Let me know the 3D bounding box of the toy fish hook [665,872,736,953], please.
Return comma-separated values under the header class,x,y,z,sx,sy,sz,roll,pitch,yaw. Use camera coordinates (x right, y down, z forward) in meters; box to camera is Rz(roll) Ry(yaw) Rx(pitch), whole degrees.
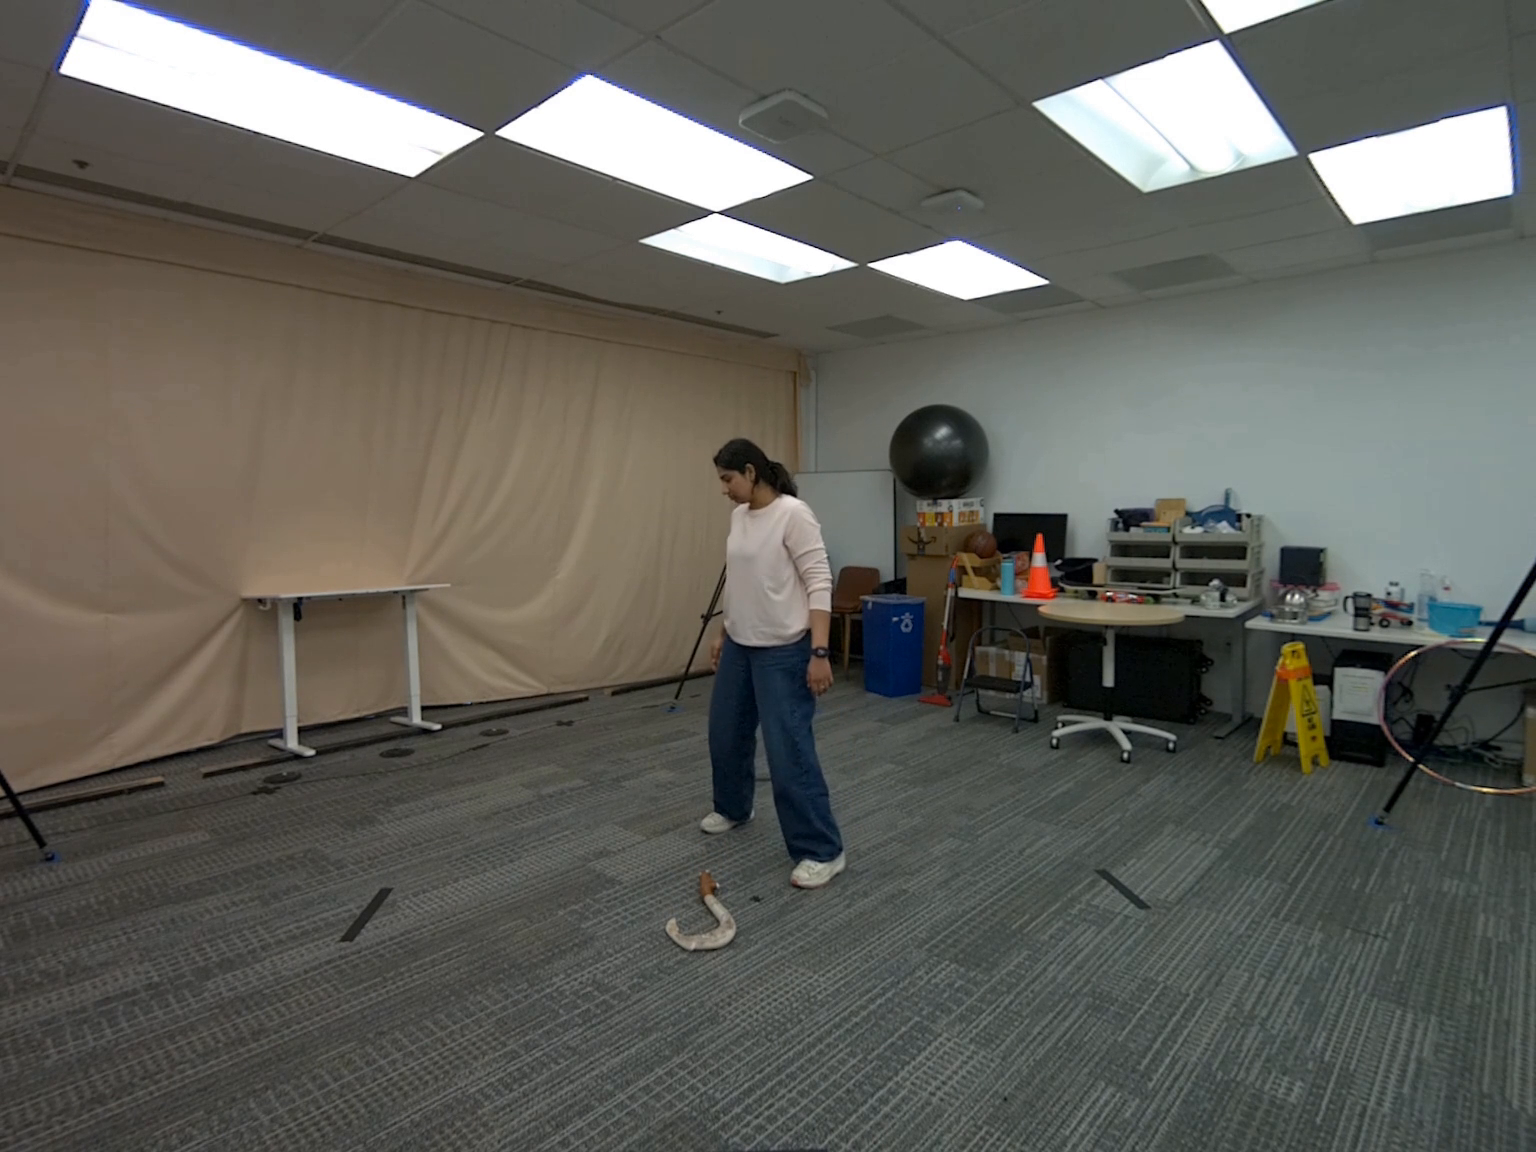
class,x,y,z,sx,sy,sz,roll,pitch,yaw
toy fish hook,-0.239,1.126,2.877,0.222,0.048,0.513,0,5,-10
